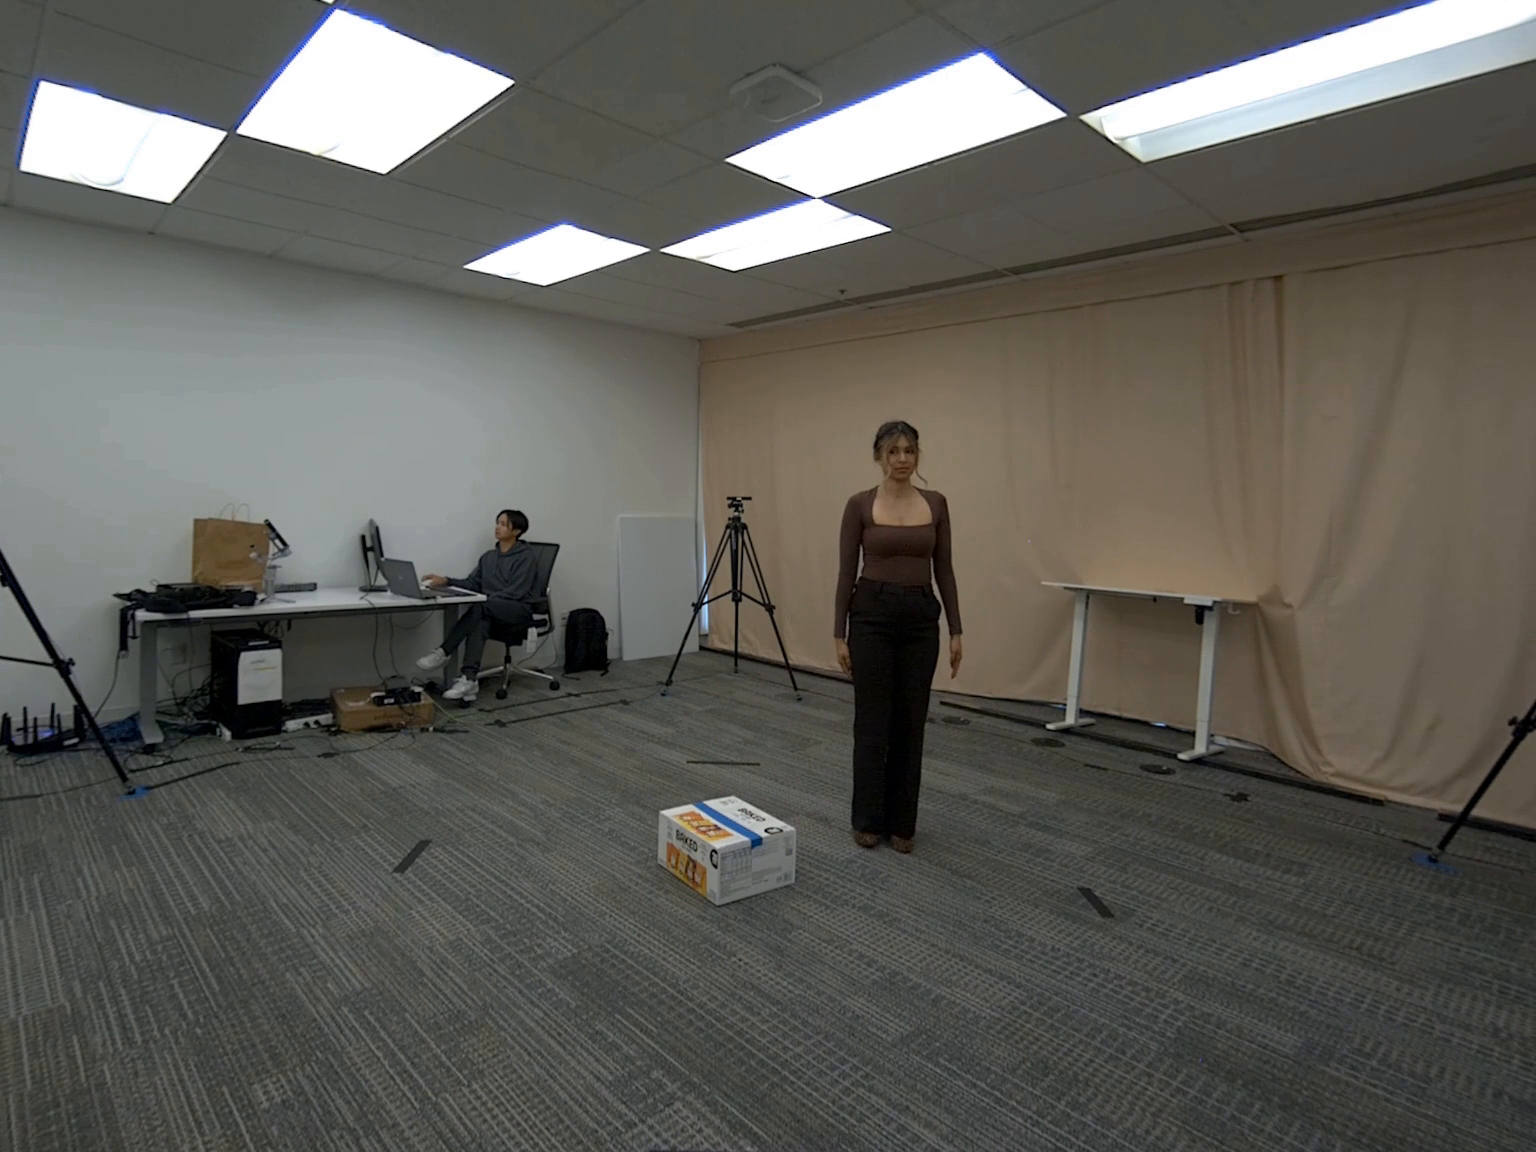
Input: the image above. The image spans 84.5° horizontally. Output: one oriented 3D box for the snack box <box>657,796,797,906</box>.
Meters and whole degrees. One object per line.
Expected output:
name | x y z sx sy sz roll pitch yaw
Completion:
snack box | -0.162 1.004 3.109 0.333 0.205 0.415 -2 6 -36
